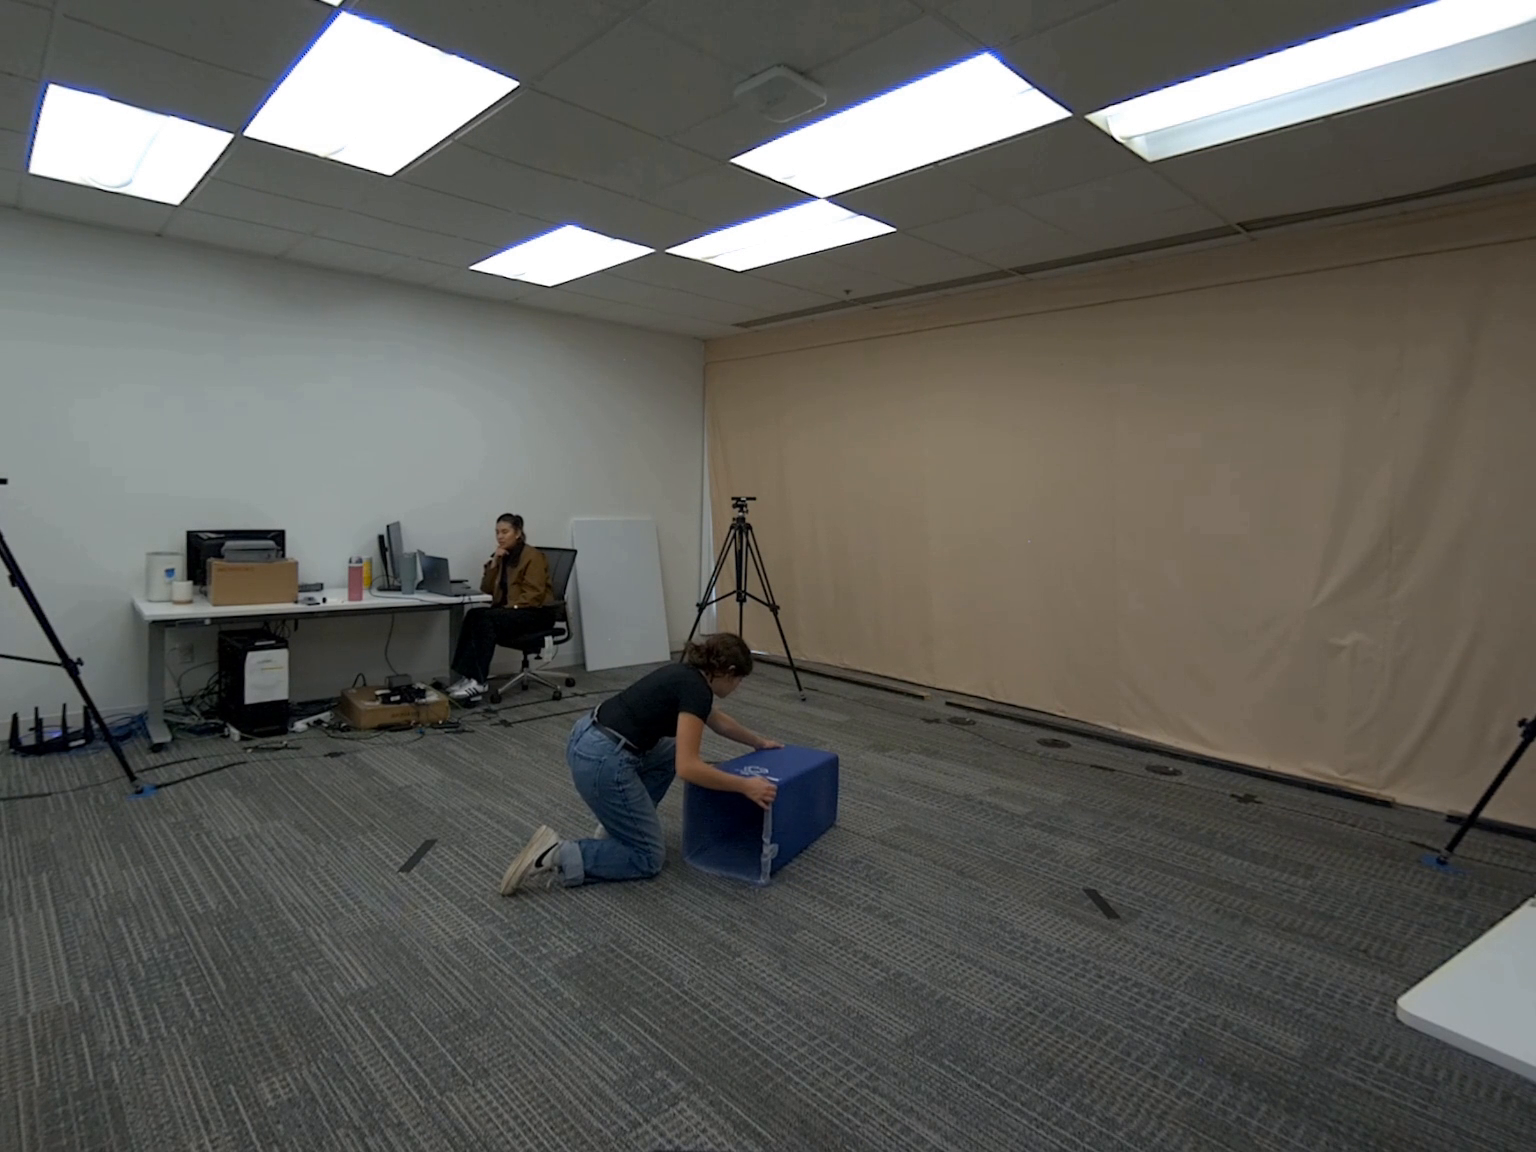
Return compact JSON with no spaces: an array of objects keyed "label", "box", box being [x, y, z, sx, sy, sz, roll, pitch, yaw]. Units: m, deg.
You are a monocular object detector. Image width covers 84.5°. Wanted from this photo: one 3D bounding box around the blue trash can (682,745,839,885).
[{"label":"blue trash can","box":[-0.007,0.919,3.401,0.382,0.378,0.699,3,2,27]}]
